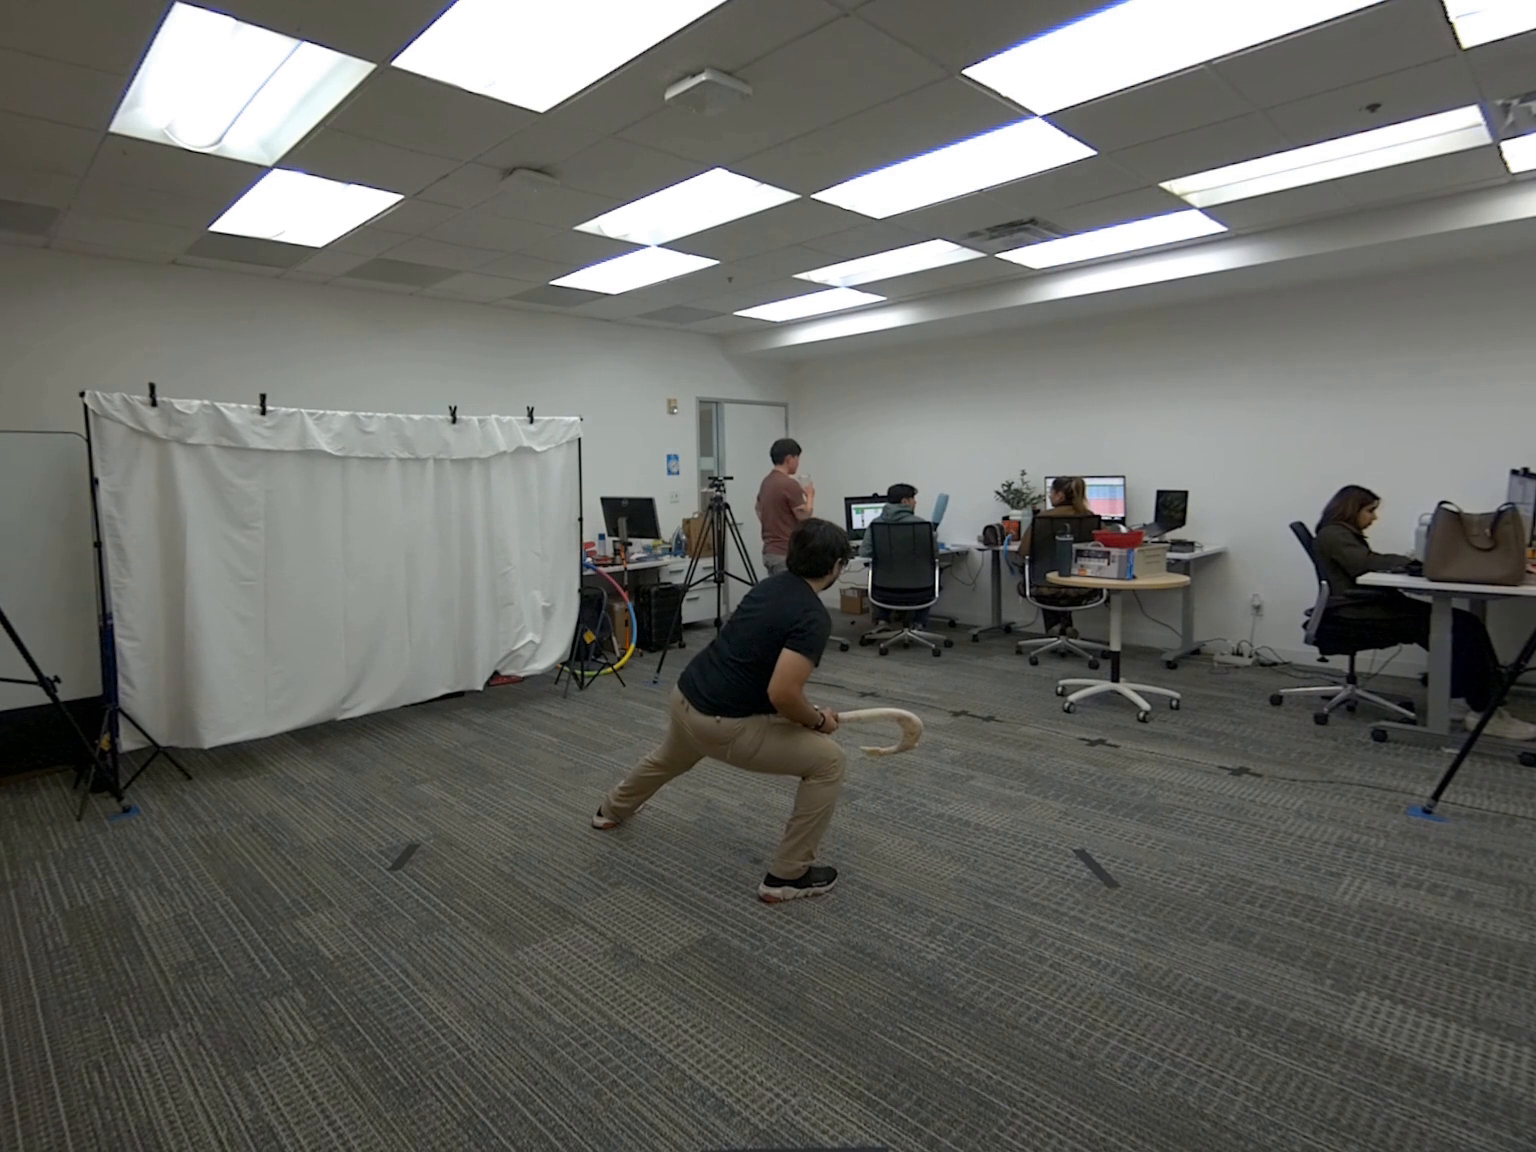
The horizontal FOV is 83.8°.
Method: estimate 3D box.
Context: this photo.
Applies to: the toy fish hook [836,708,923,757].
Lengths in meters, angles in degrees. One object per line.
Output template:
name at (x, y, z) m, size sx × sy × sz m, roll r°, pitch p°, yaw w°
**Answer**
toy fish hook at (0.286, 0.538, 2.971) m, size 0.505 × 0.221 × 0.049 m, roll 8°, pitch 24°, yaw -3°
